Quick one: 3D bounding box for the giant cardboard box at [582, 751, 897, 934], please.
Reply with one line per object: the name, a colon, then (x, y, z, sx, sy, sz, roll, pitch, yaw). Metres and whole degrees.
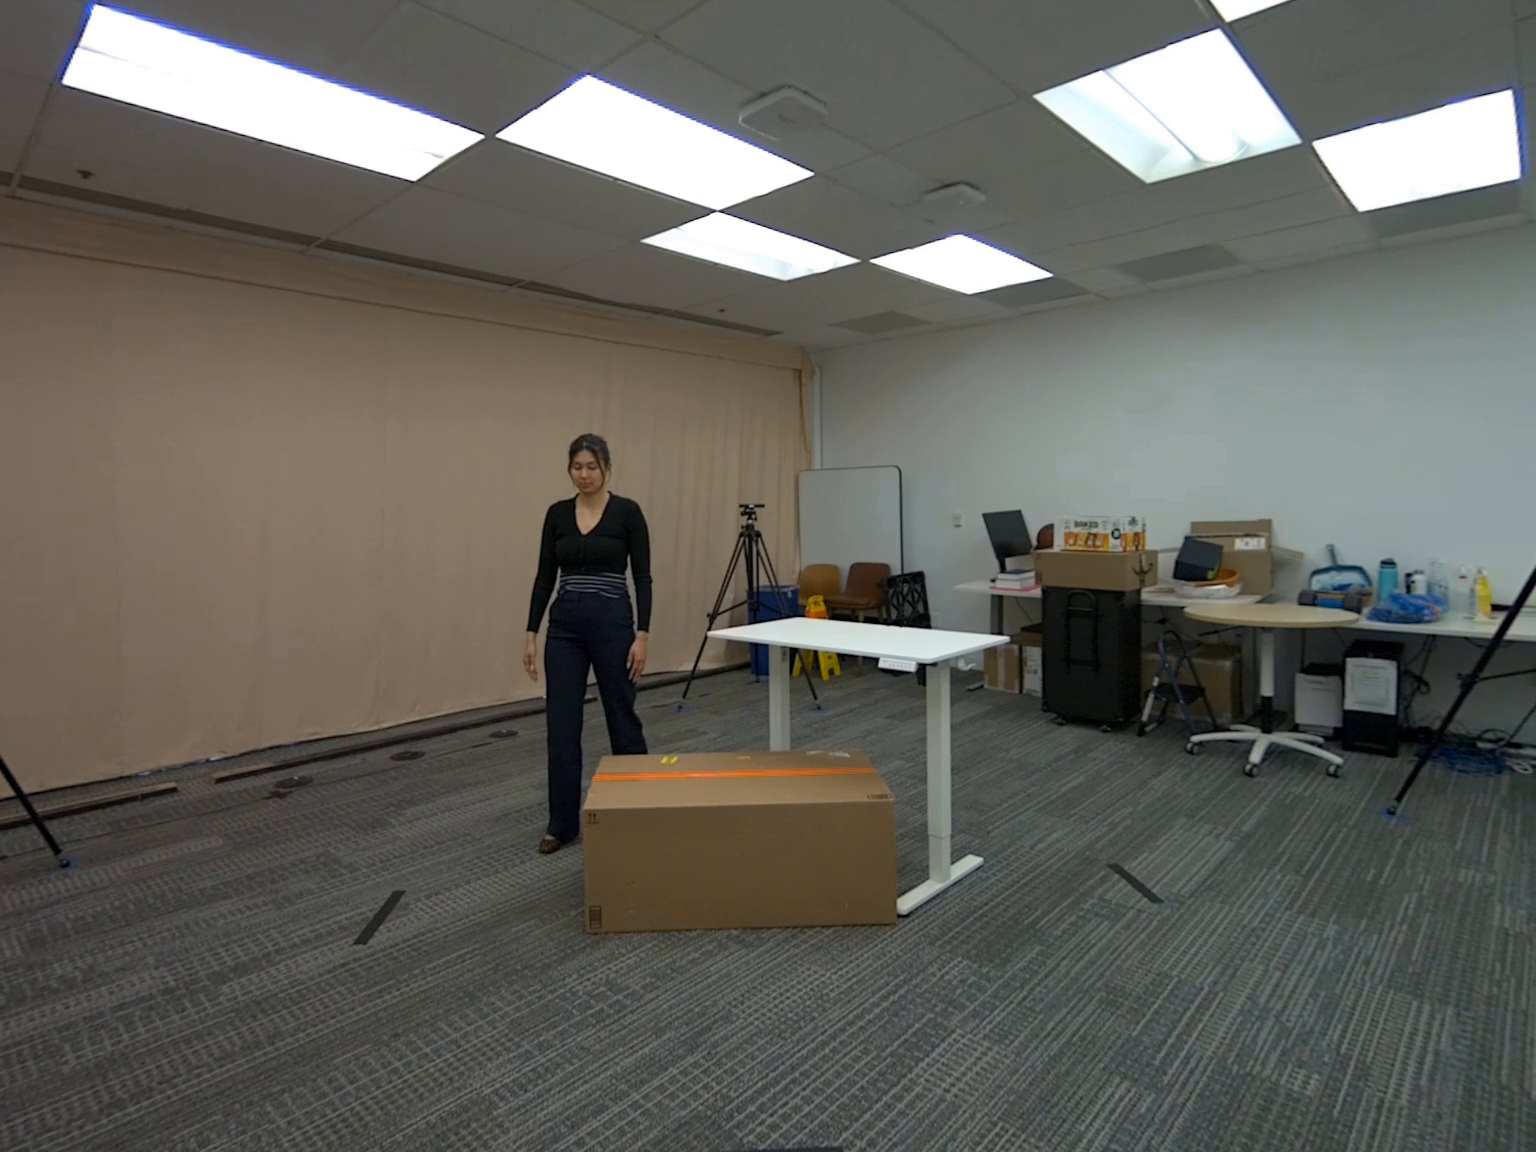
giant cardboard box: (-0.111, 0.922, 3.027, 1.024, 0.425, 0.580, -1, 3, -2)
